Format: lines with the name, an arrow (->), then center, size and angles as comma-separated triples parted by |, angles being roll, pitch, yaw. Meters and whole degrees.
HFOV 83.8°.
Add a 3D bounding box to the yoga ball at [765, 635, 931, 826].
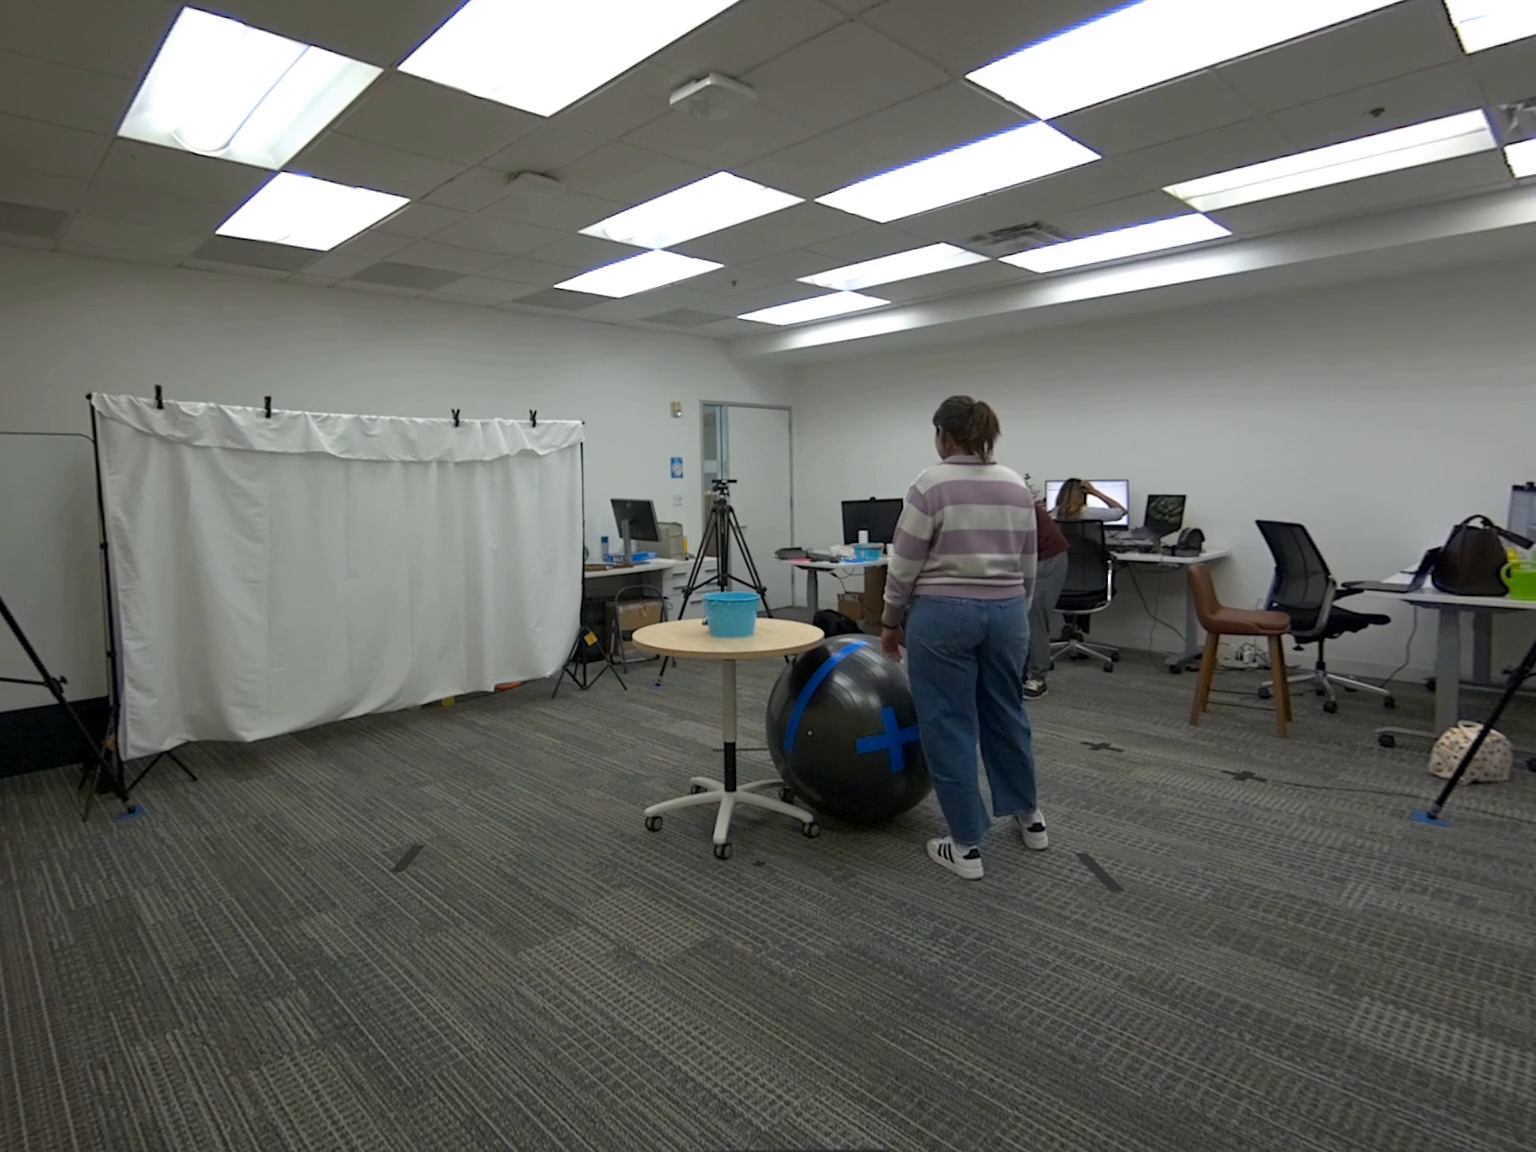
yoga ball -> 0.375, 0.620, 3.535 | 0.757, 0.755, 0.762 | -1, 5, -2
